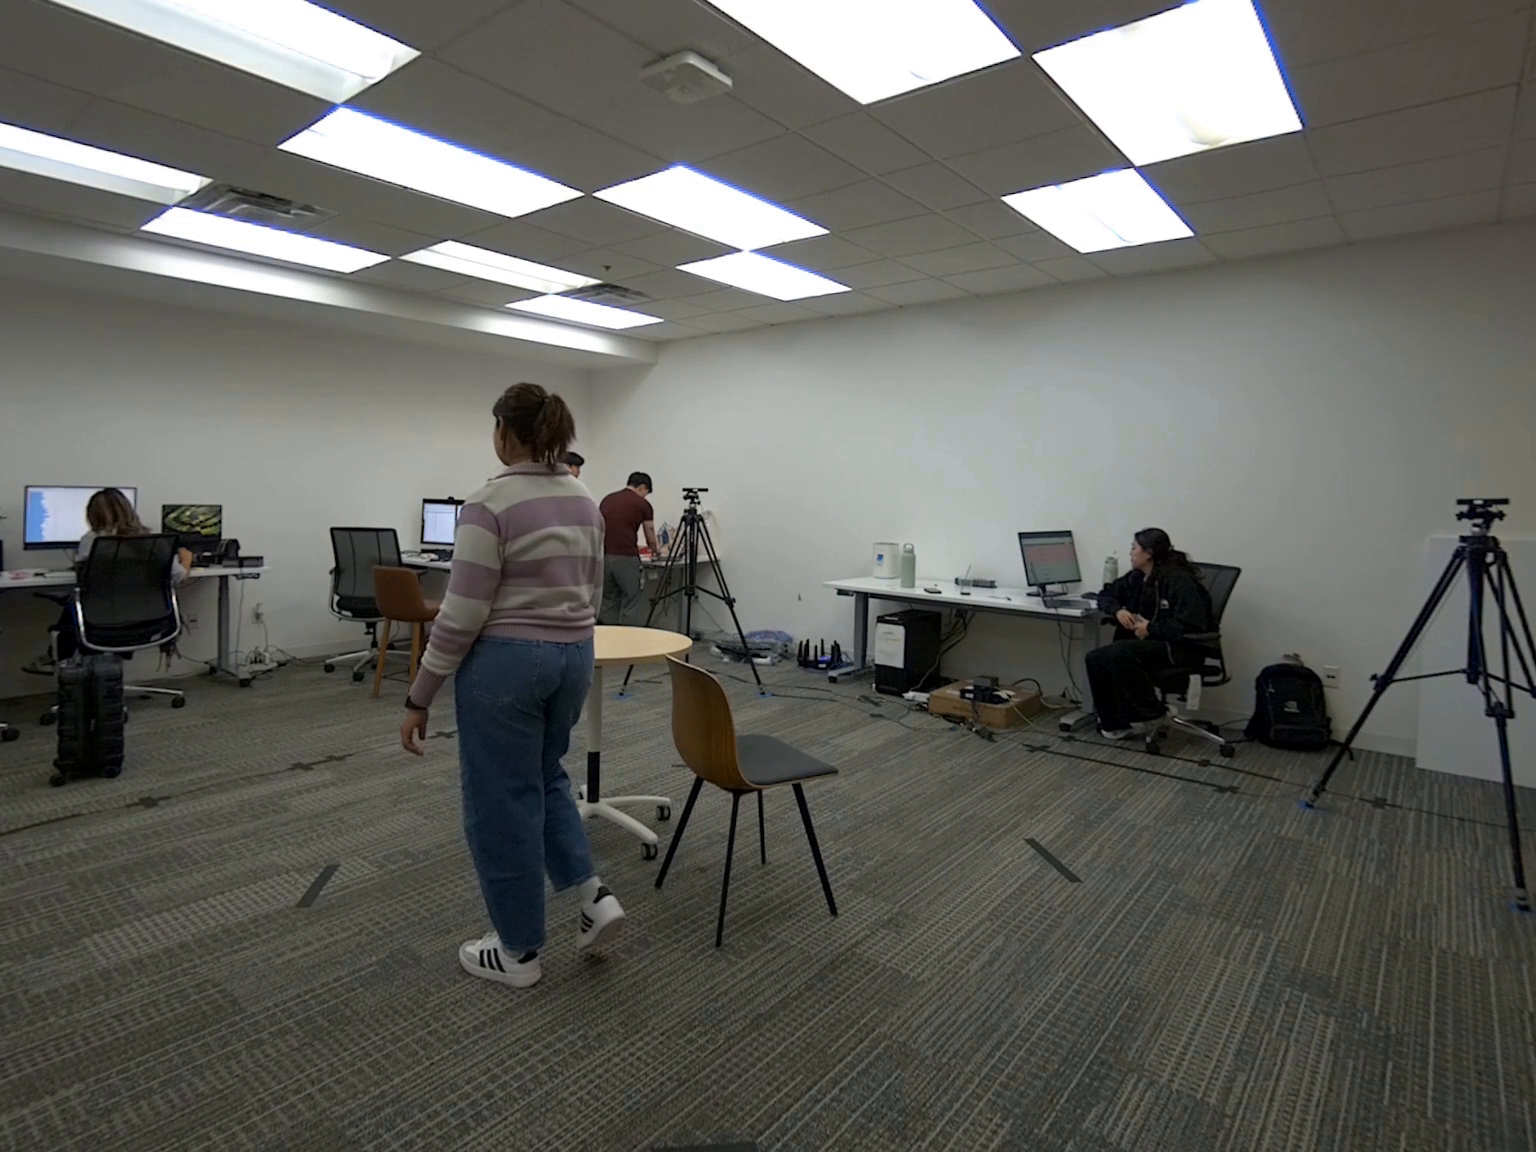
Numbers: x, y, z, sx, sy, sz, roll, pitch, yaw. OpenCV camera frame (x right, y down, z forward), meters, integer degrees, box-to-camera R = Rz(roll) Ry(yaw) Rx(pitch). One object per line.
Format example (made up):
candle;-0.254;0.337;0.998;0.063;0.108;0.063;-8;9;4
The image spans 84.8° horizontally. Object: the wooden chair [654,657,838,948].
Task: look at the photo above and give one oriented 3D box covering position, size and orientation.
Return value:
wooden chair;-0.074;0.669;2.855;0.510;0.873;0.493;-5;6;-31
